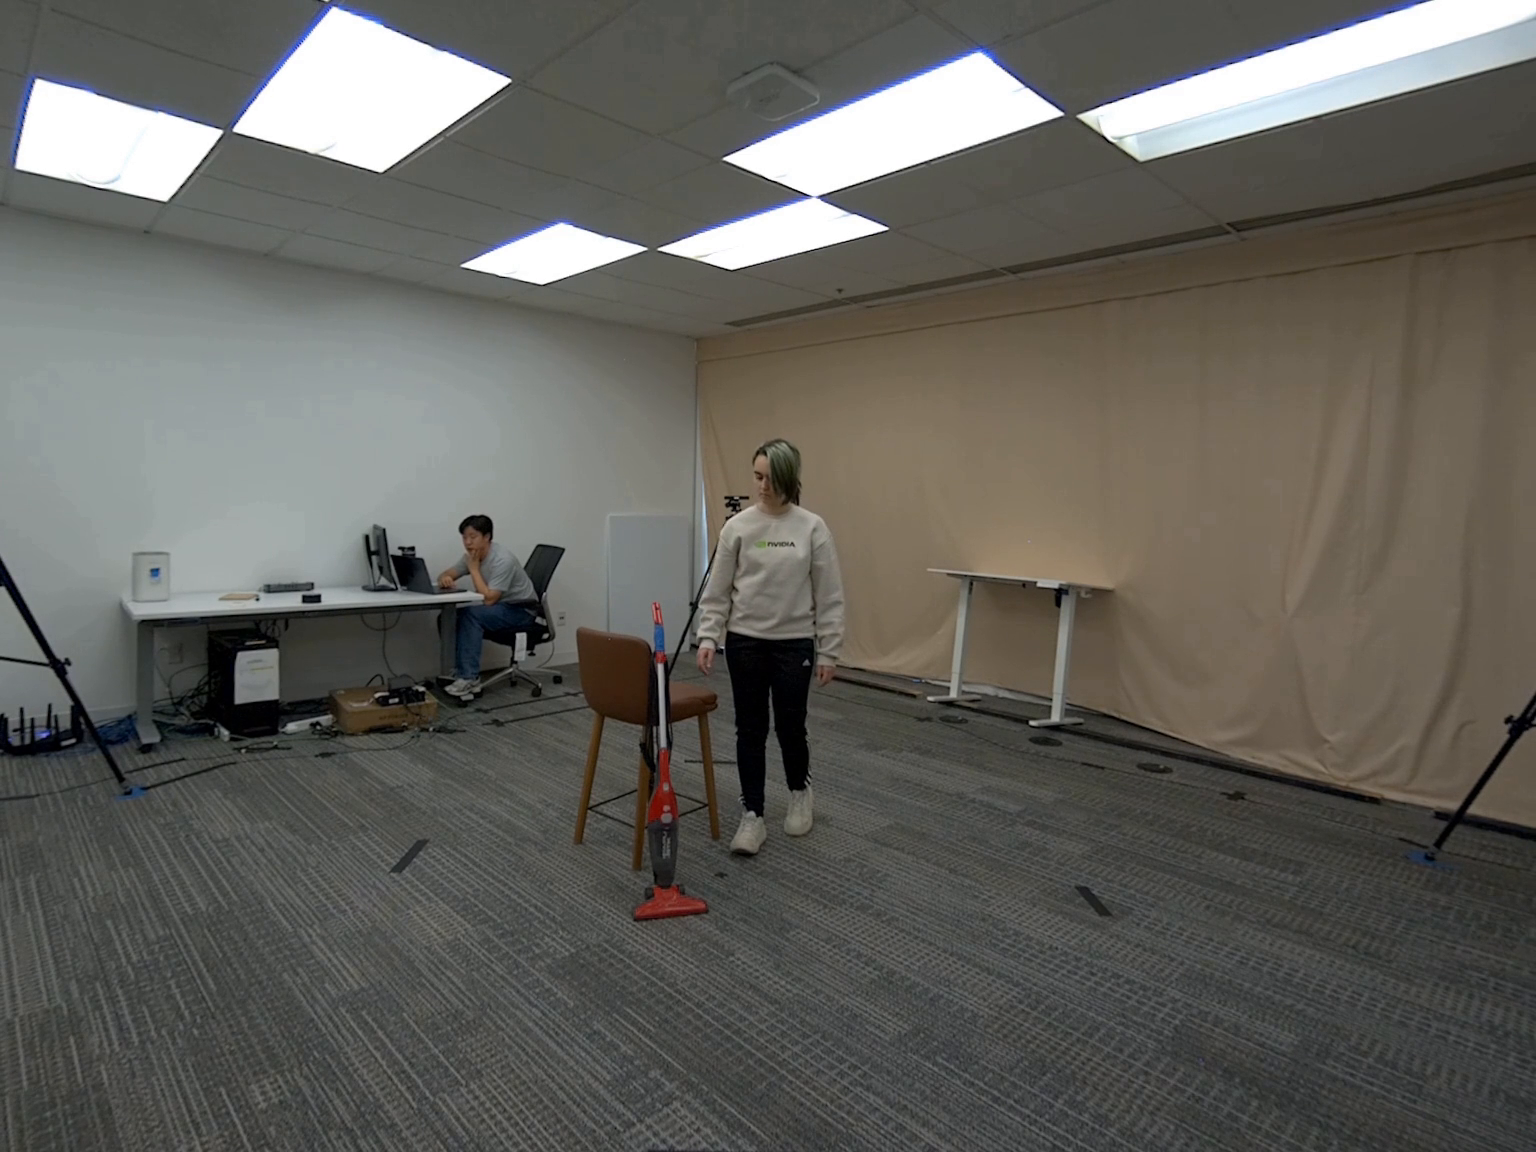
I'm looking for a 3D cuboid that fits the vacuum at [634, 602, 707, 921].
[{"bbox_3d":[-0.388,0.618,2.994,0.249,1.063,0.144,0,-17,-18],"label":"vacuum"}]
